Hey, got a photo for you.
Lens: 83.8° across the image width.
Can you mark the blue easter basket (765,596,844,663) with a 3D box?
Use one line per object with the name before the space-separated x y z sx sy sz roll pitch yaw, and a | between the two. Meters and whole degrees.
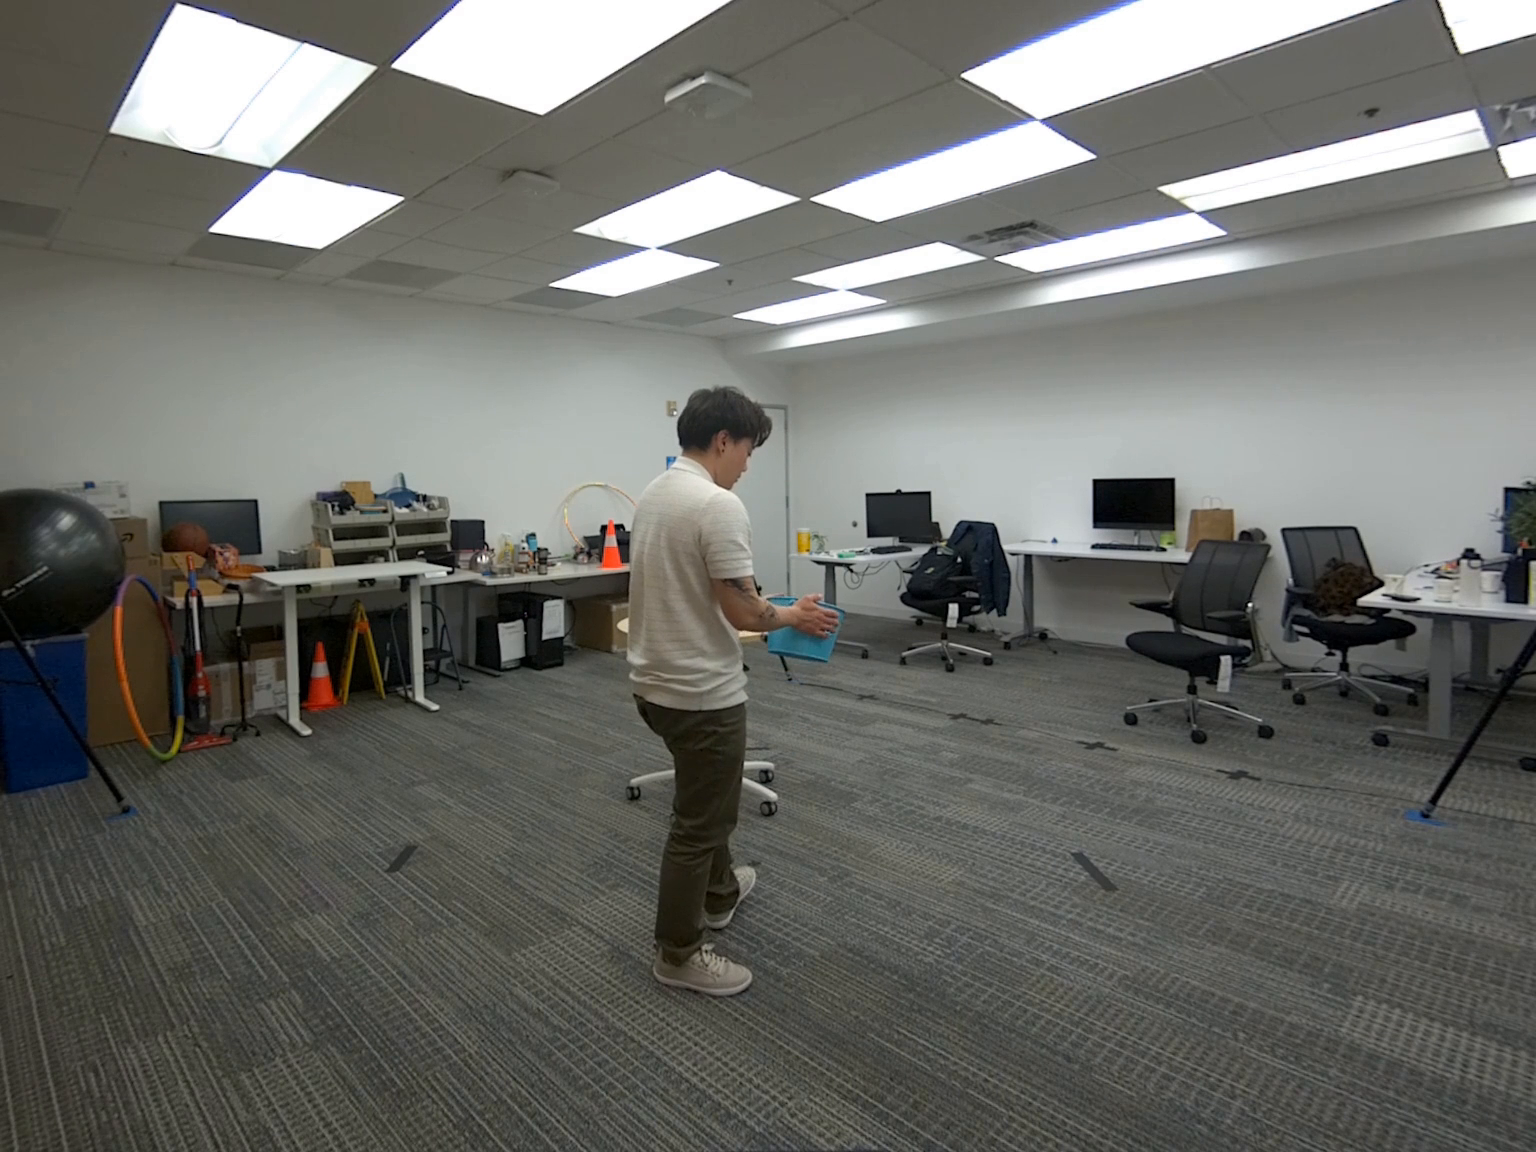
blue easter basket | 0.098 0.163 2.483 0.244 0.157 0.242 9 -9 0
